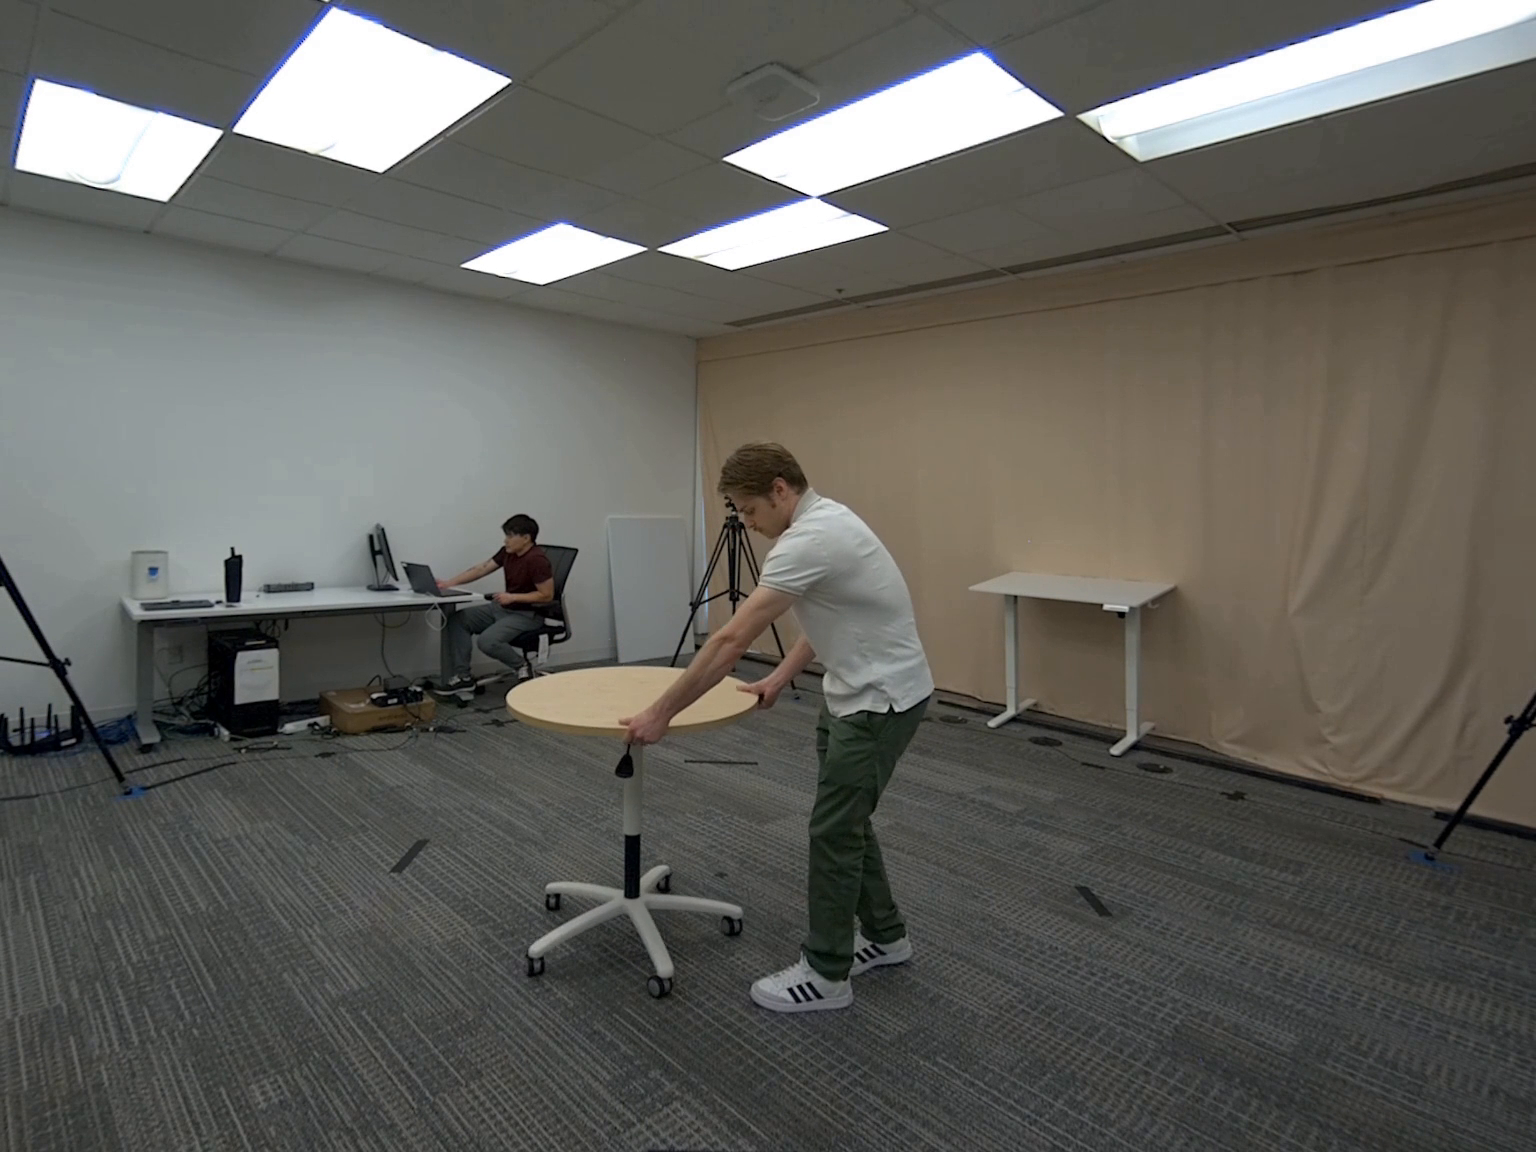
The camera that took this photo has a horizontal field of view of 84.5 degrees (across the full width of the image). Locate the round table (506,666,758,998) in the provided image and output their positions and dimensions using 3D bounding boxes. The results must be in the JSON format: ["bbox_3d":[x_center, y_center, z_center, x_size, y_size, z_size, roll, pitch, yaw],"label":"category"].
[{"bbox_3d":[-0.409,0.750,2.617,0.784,0.784,0.788,1,4,-1],"label":"round table"}]
